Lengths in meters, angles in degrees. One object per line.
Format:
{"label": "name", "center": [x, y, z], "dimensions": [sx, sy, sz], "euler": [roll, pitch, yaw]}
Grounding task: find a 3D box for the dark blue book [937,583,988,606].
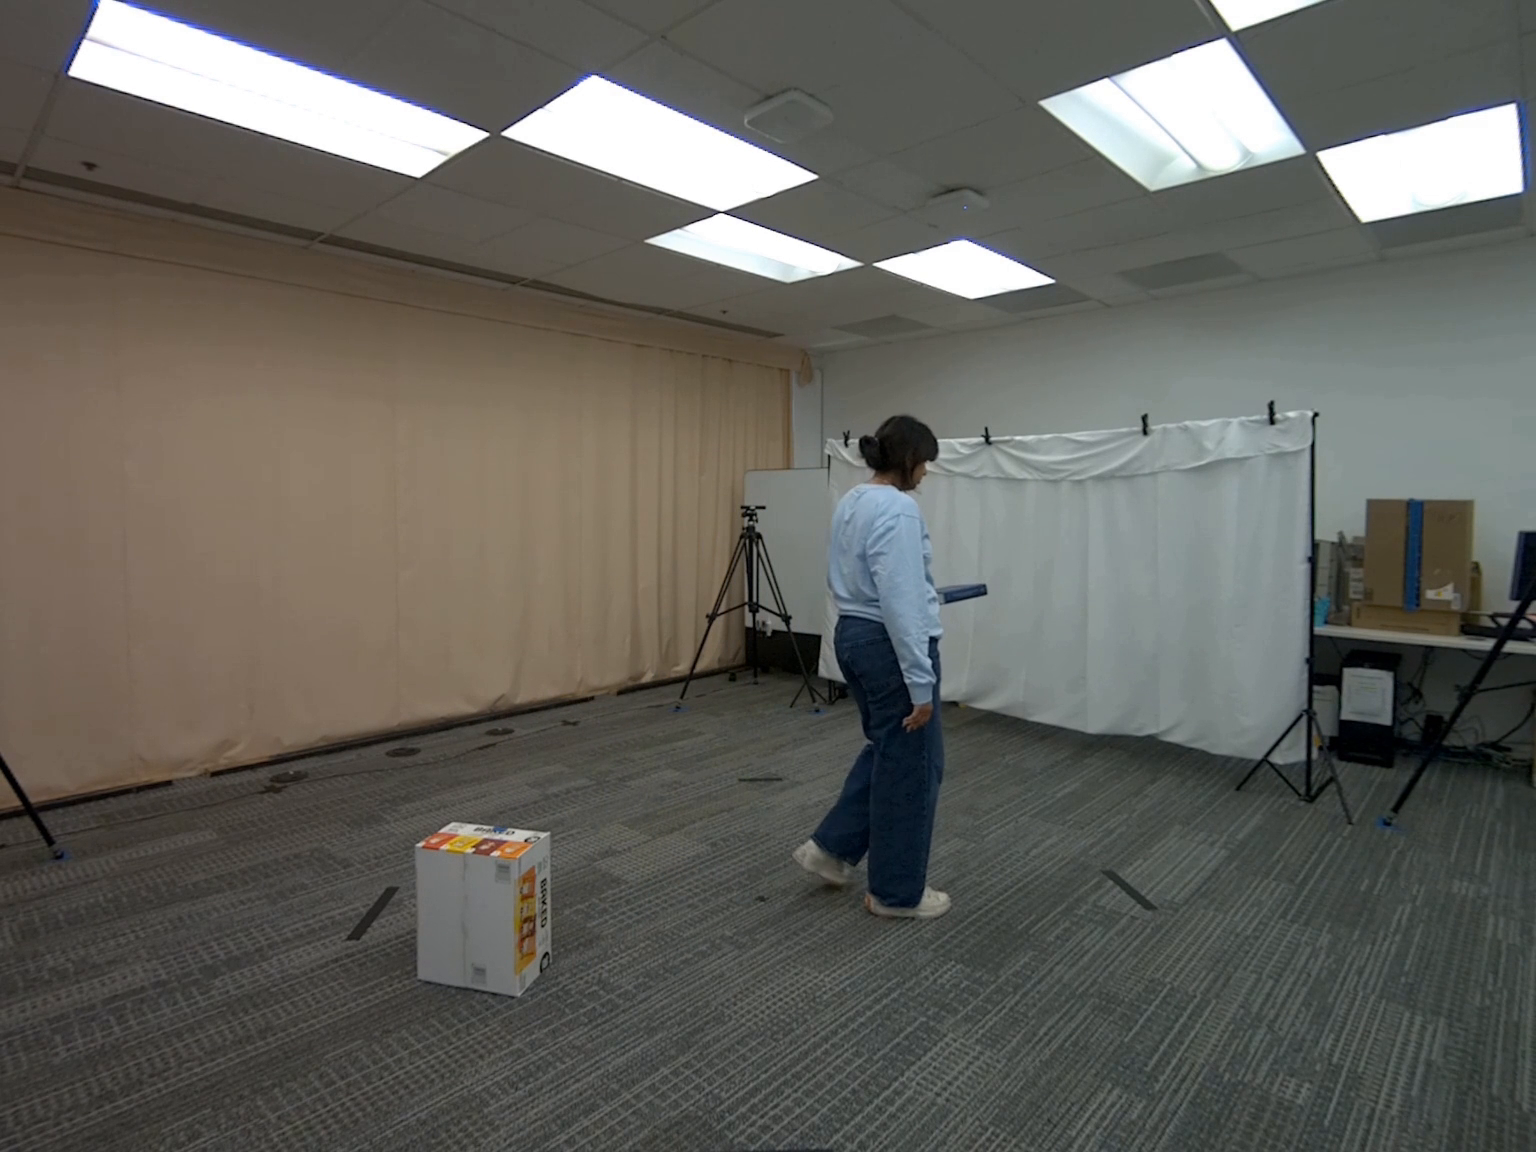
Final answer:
{"label": "dark blue book", "center": [0.669, 0.061, 3.060], "dimensions": [0.238, 0.045, 0.168], "euler": [-10, 6, -35]}
